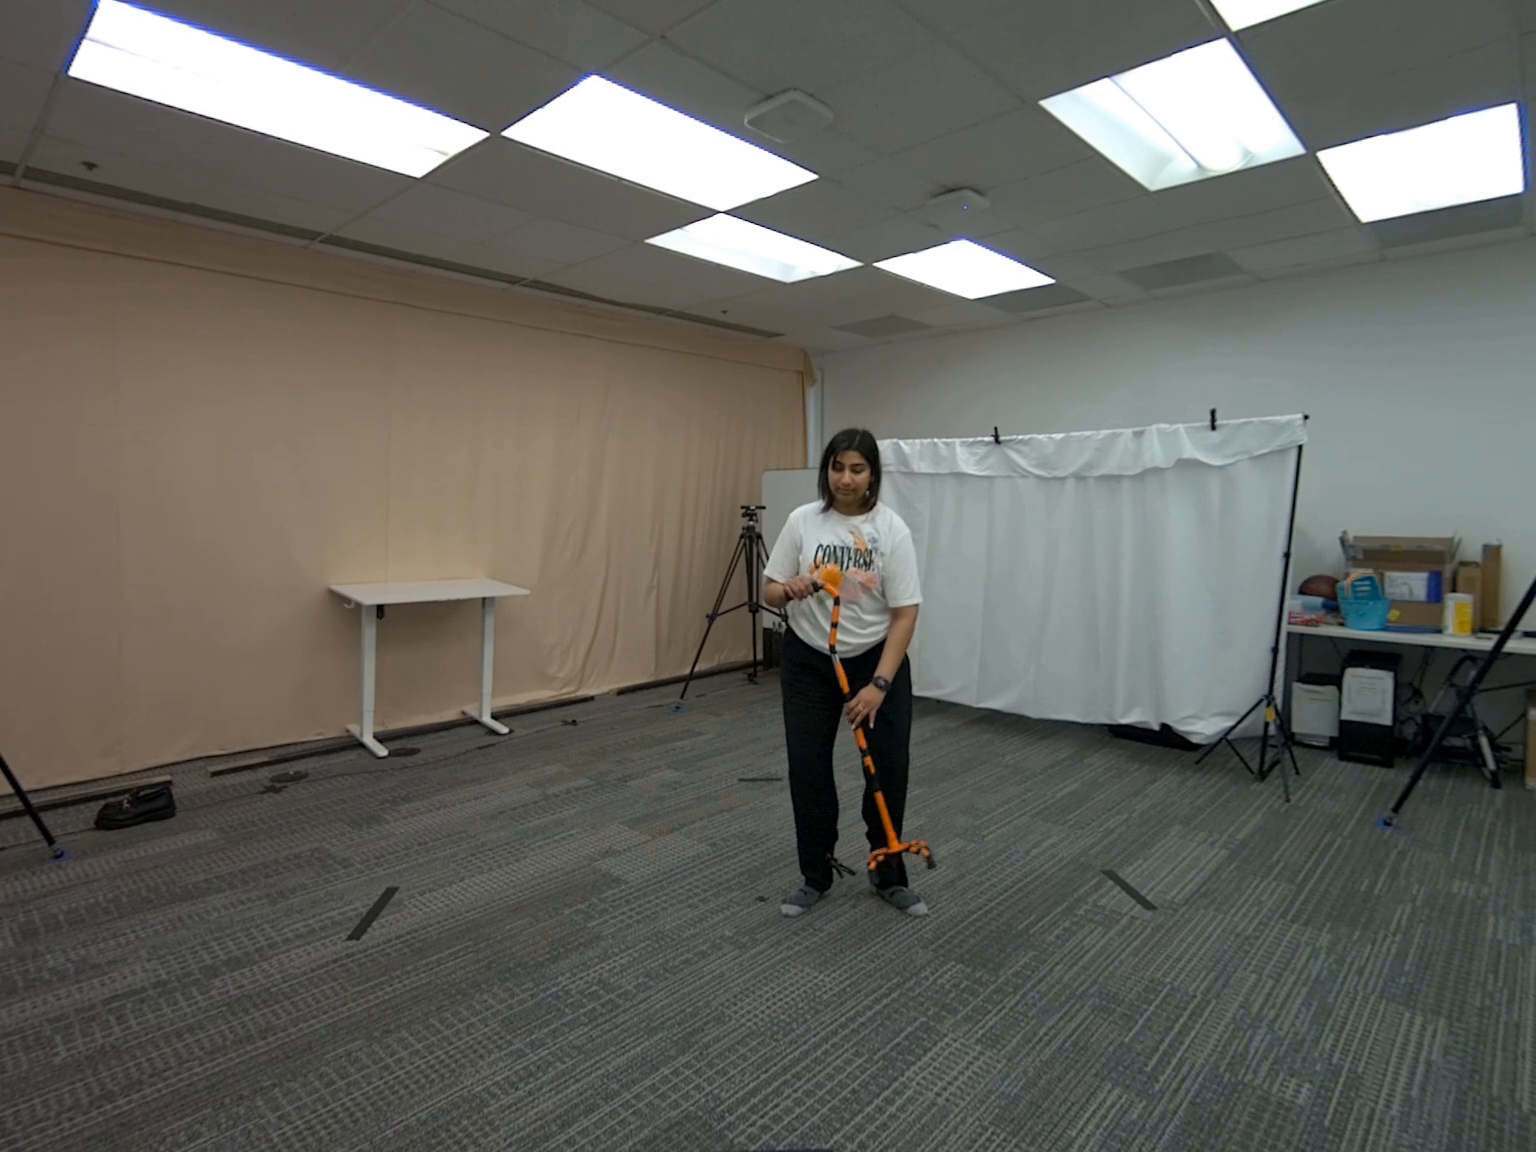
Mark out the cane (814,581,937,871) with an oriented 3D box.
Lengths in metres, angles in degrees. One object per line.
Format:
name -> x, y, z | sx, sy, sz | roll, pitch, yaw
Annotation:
cane -> 0.291, 0.461, 2.620 | 0.207, 0.914, 0.150 | -15, -7, 3
